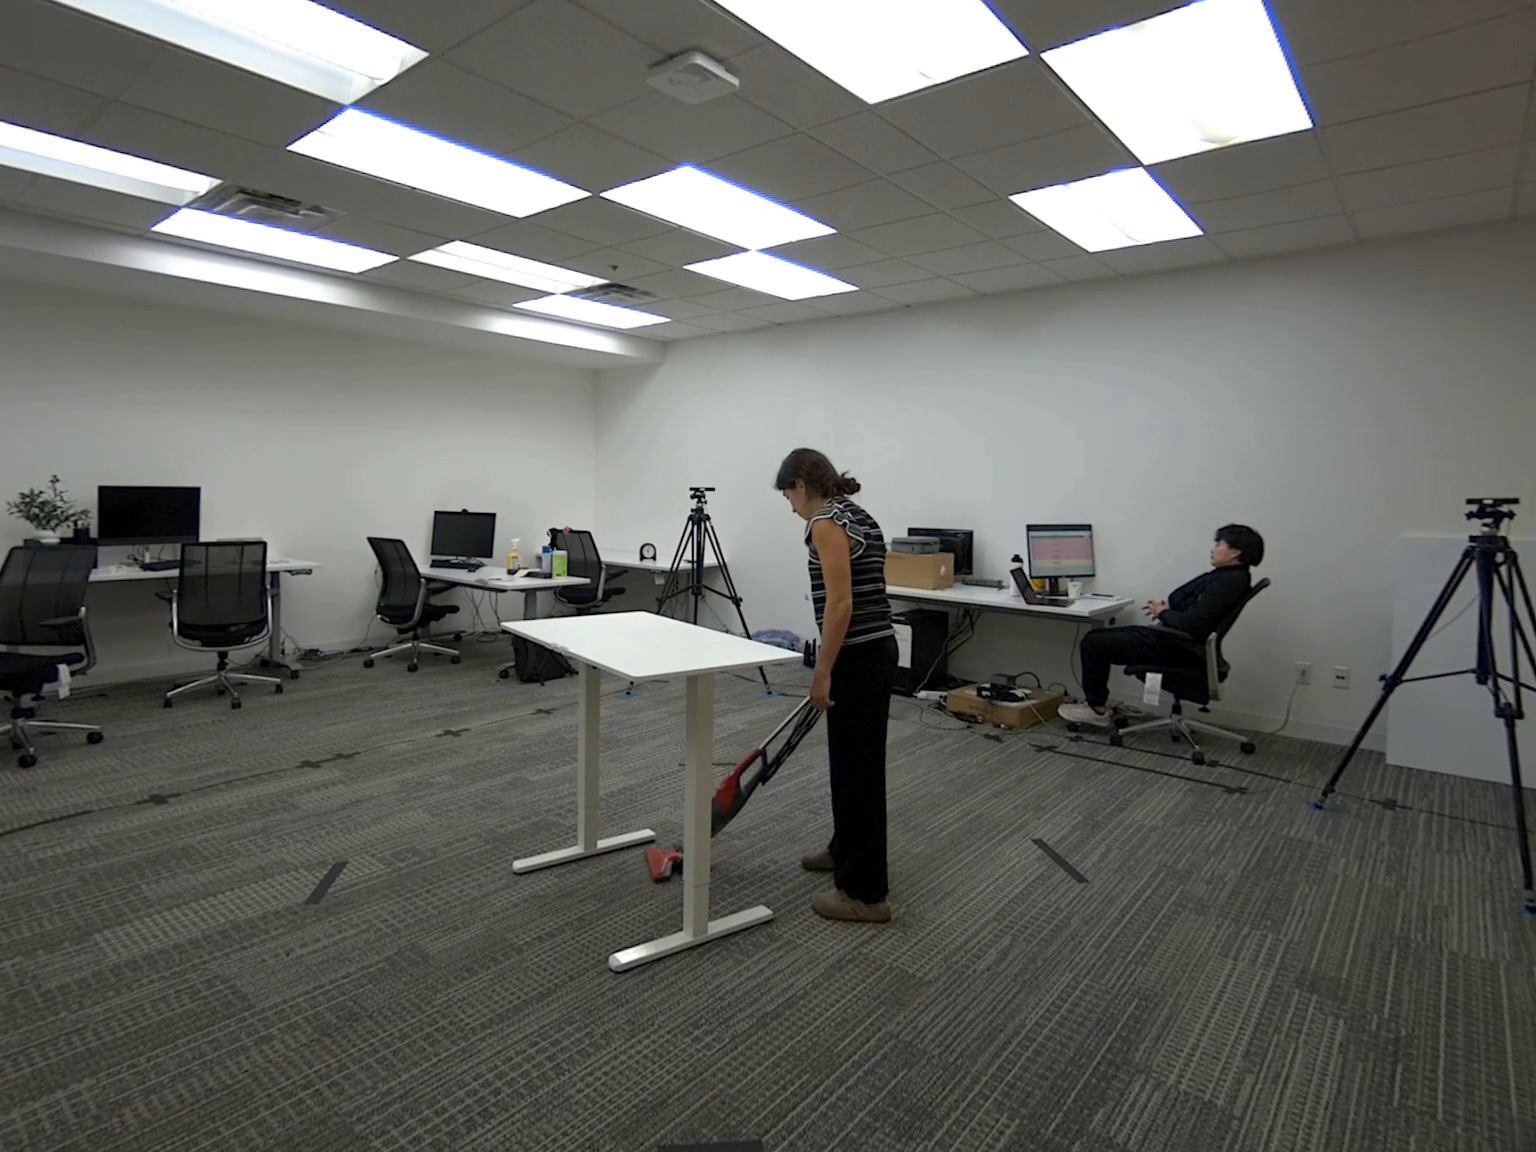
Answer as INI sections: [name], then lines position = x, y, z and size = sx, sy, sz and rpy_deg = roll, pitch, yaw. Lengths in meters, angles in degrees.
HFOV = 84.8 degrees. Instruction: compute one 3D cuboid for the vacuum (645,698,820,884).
[vacuum]
position = -0.014, 0.690, 3.175
size = 1.048, 0.141, 0.257
rpy_deg = -44, 15, -8
